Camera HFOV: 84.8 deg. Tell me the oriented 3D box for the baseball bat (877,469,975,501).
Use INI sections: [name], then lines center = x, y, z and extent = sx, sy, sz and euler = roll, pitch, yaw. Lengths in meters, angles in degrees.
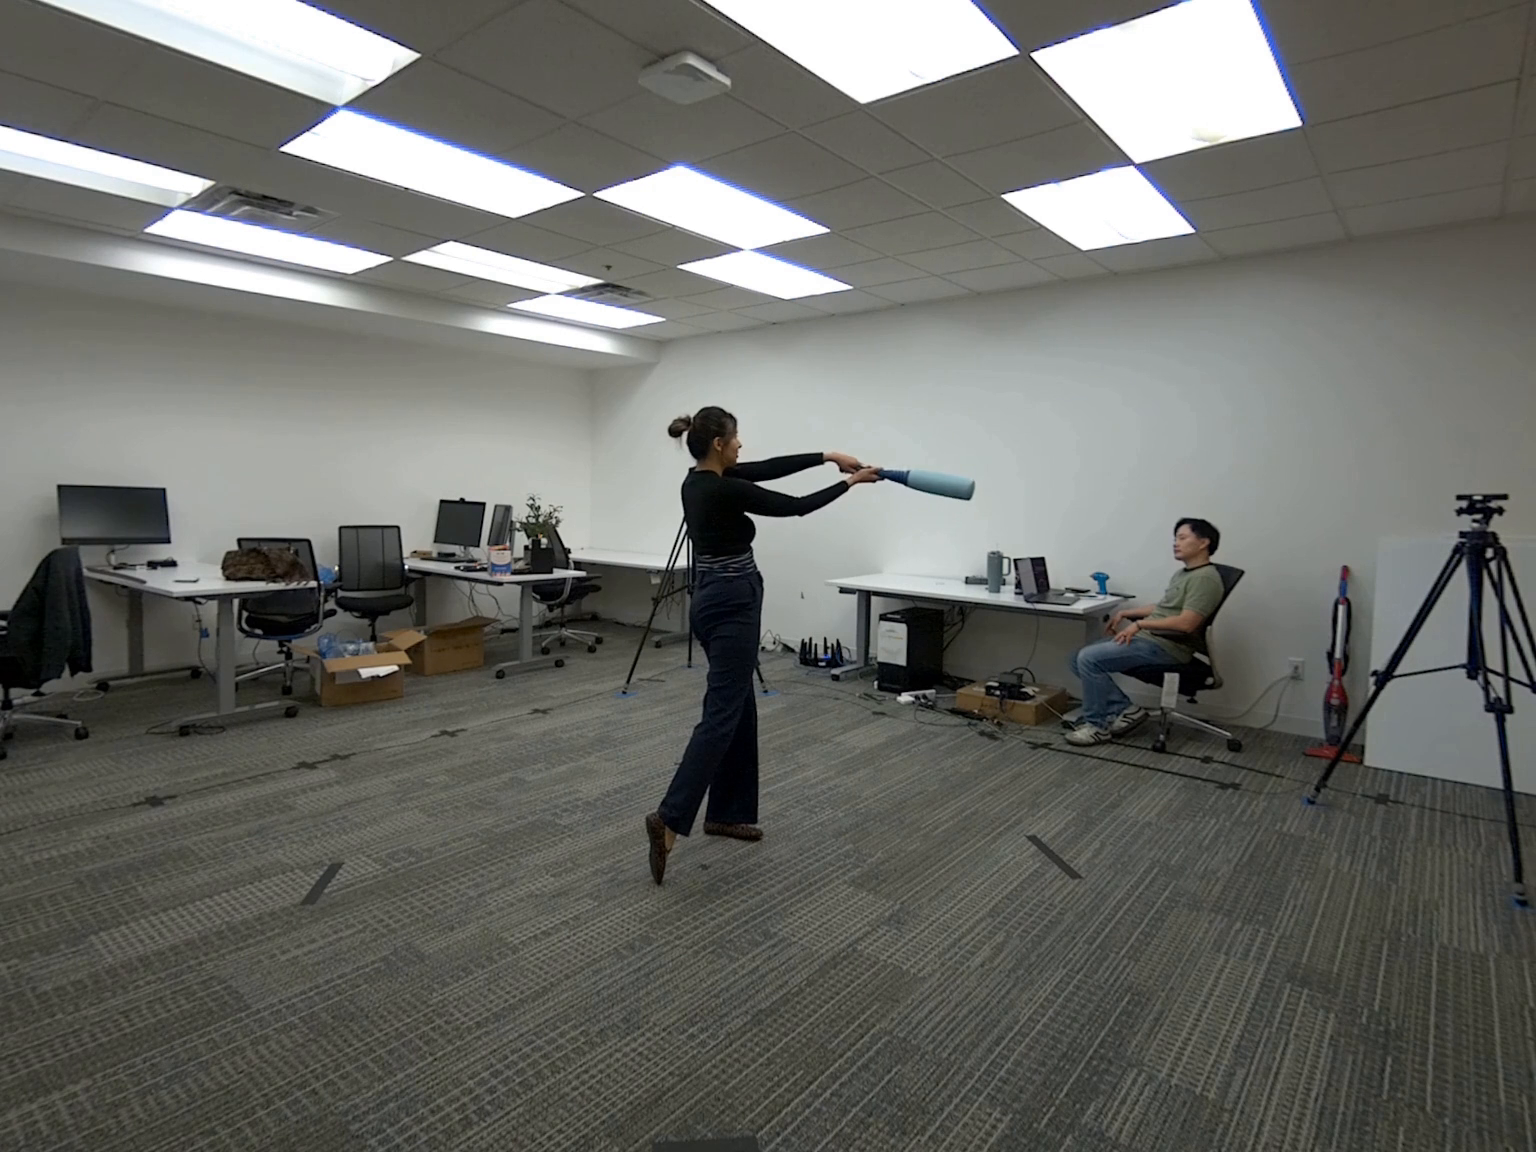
[baseball bat]
center = 0.527, -0.388, 3.367
extent = 0.558, 0.088, 0.087
euler = 15, 9, 23
